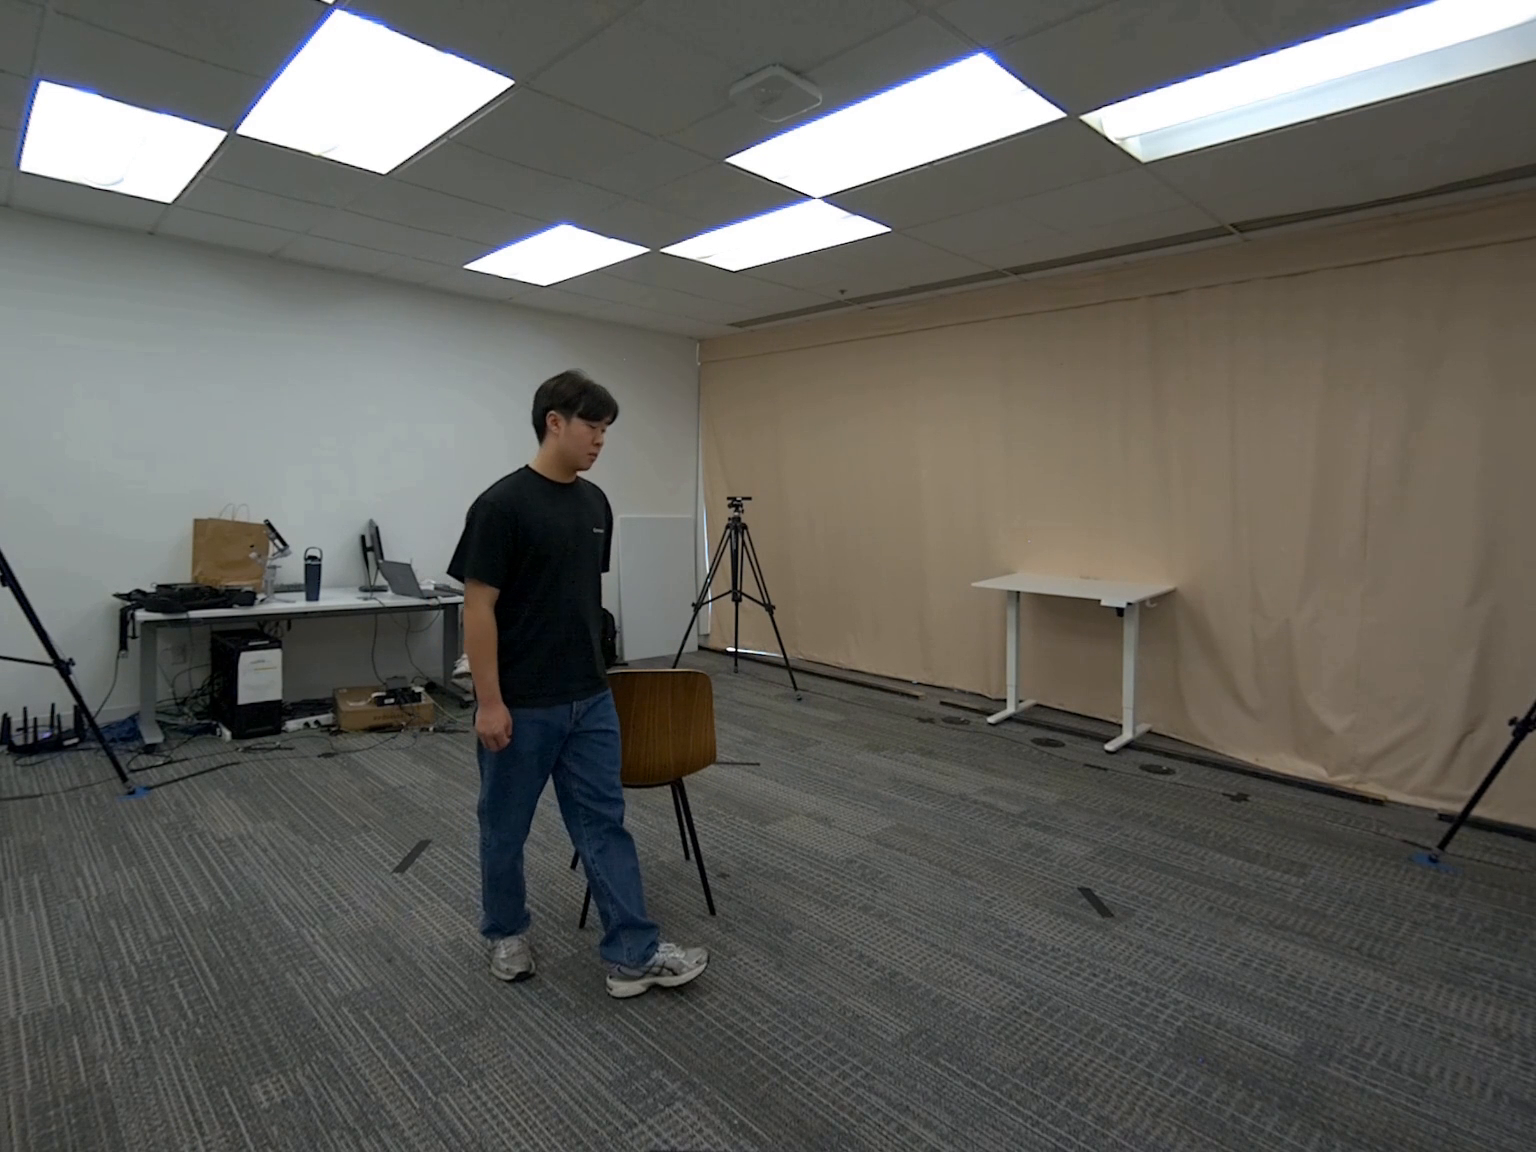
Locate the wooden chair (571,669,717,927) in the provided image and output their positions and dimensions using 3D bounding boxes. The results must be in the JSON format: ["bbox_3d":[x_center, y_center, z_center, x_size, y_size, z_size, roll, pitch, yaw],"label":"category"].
[{"bbox_3d":[-0.444,0.690,2.942,0.472,0.873,0.532,0,8,-16],"label":"wooden chair"}]
